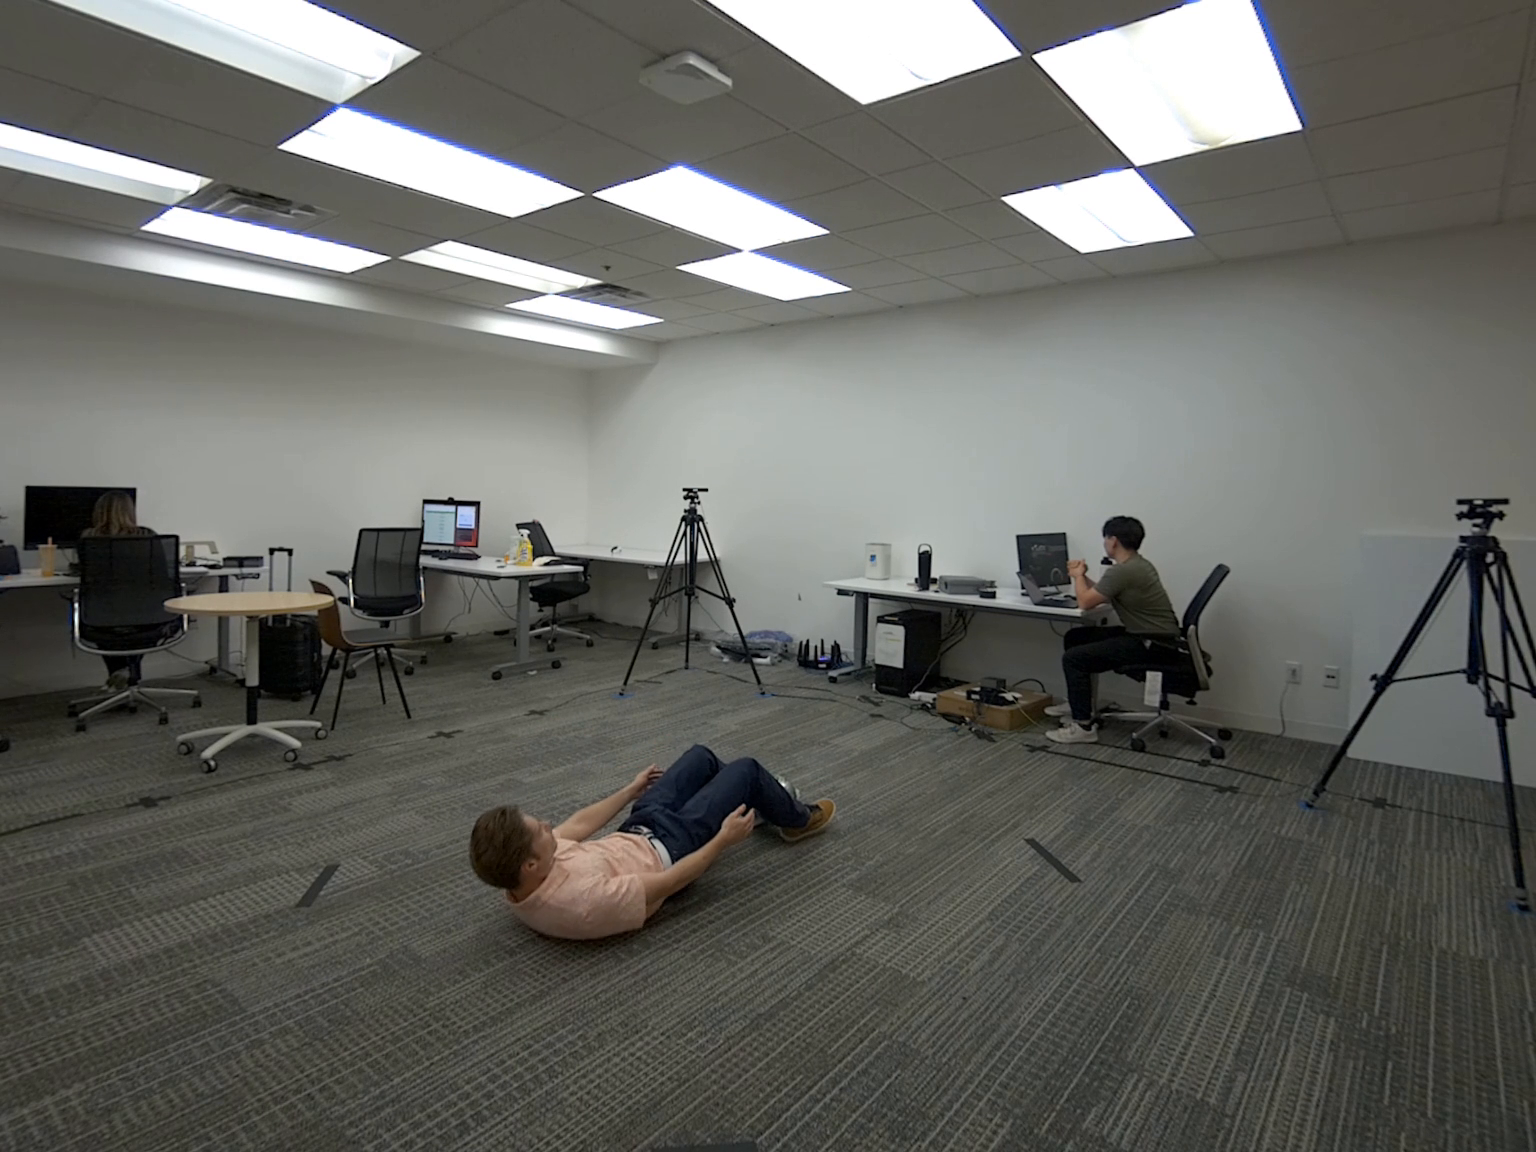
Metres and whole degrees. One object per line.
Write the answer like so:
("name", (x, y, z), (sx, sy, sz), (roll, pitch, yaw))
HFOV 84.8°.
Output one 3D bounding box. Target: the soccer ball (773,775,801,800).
("soccer ball", (0.018, 0.899, 3.438), (0.187, 0.187, 0.188), (1, 4, -2))
